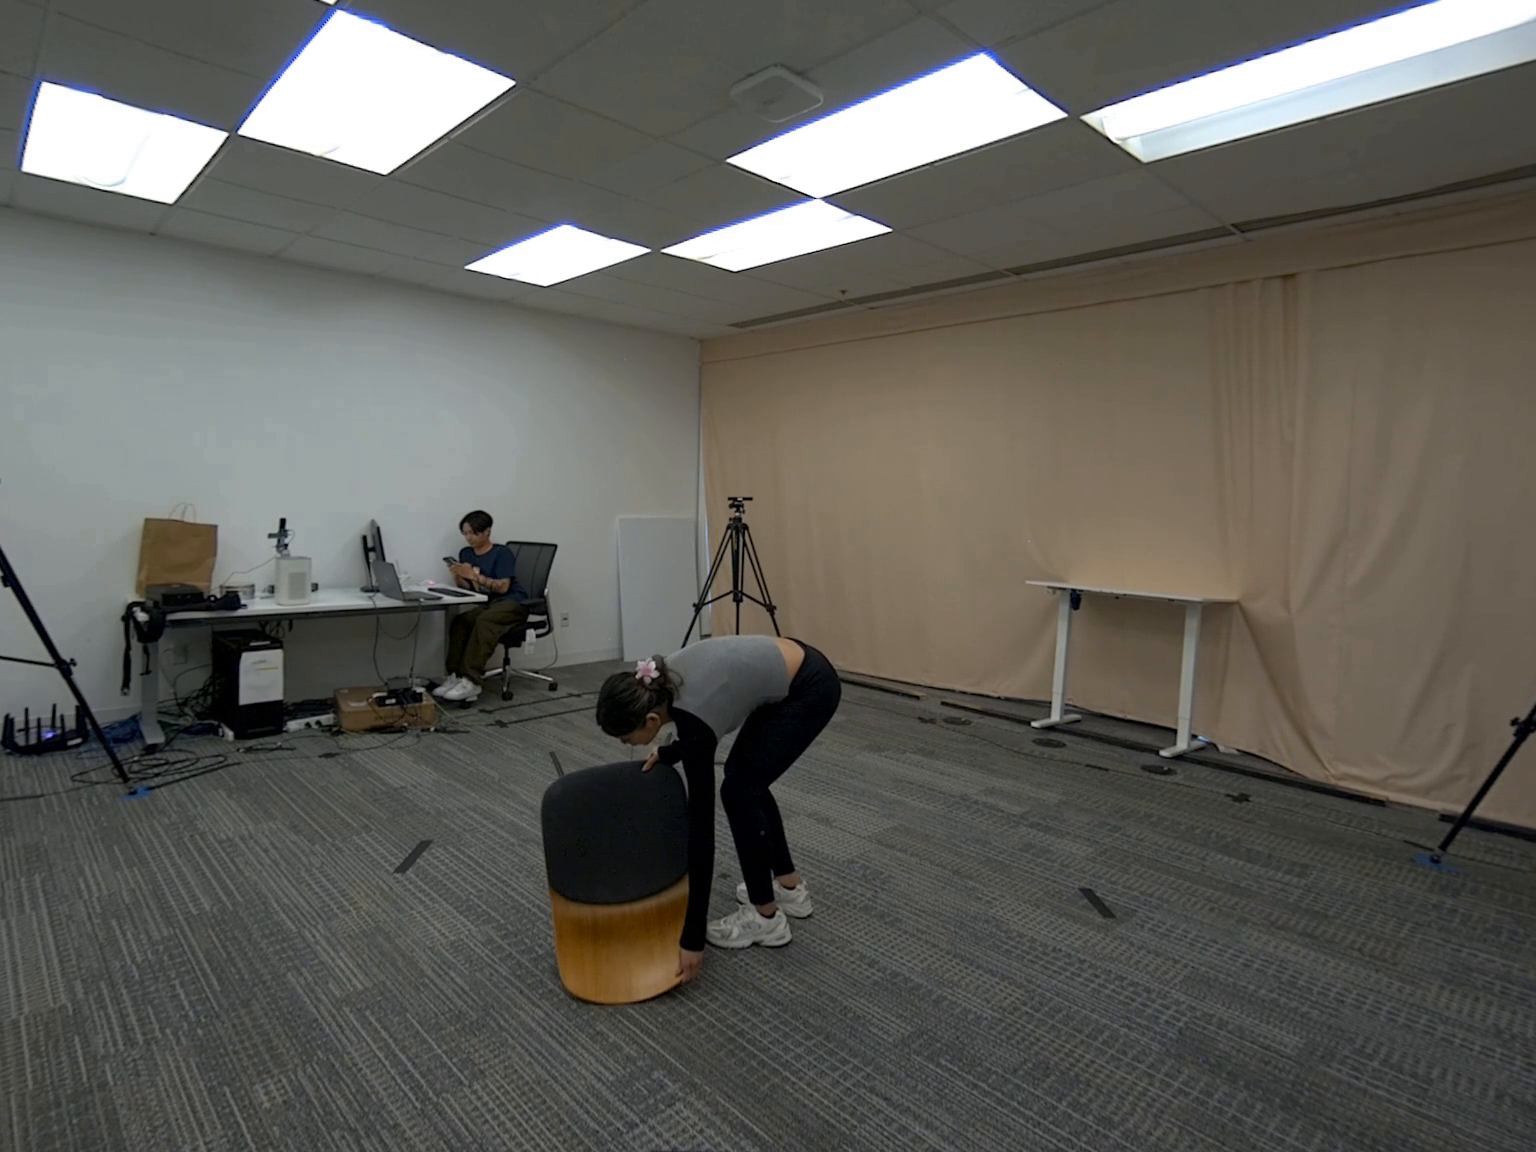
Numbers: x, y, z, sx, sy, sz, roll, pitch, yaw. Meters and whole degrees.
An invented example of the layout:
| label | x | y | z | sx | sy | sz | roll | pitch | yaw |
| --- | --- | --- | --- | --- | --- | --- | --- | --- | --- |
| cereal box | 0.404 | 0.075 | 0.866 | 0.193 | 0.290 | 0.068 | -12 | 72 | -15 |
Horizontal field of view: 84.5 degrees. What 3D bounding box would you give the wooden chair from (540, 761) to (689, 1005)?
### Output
| label | x | y | z | sx | sy | sz | roll | pitch | yaw |
| --- | --- | --- | --- | --- | --- | --- | --- | --- | --- |
| wooden chair | -0.480 | 0.859 | 2.705 | 0.475 | 0.520 | 0.888 | -7 | 9 | -8 |
